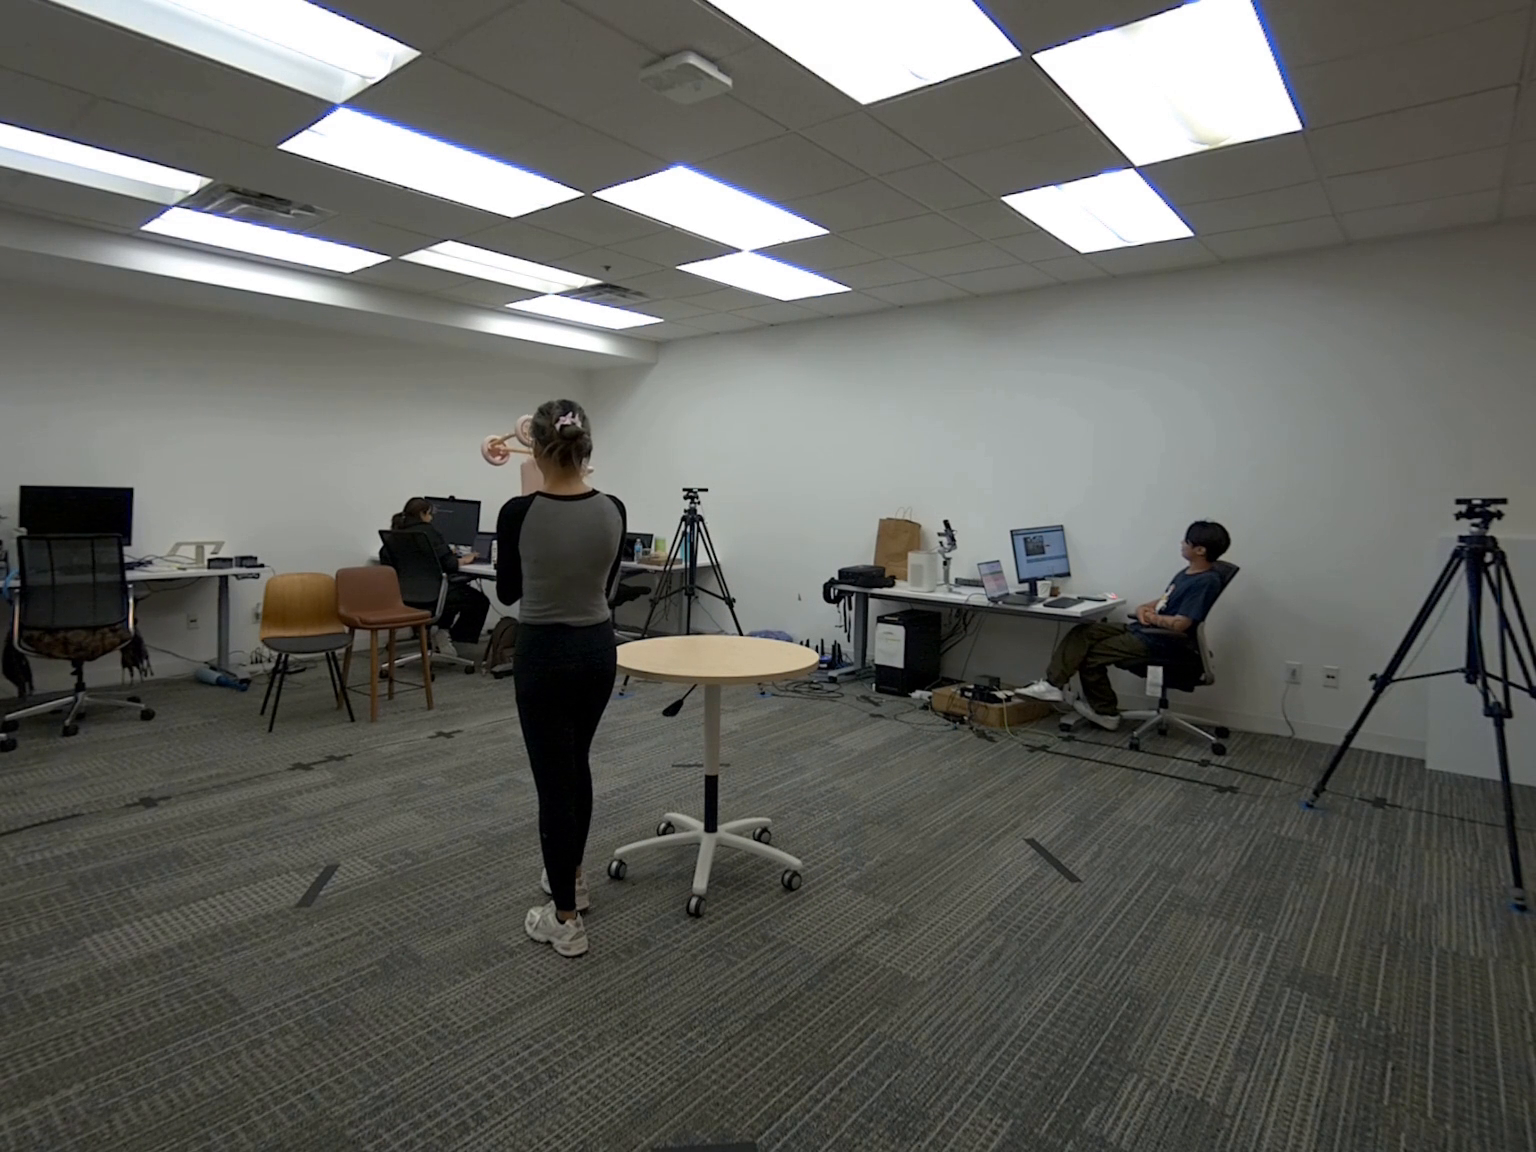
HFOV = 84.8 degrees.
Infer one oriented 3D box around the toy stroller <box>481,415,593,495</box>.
[{"bbox_3d":[-0.778,-0.333,2.986,0.288,0.537,0.333,-16,-3,40],"label":"toy stroller"}]
